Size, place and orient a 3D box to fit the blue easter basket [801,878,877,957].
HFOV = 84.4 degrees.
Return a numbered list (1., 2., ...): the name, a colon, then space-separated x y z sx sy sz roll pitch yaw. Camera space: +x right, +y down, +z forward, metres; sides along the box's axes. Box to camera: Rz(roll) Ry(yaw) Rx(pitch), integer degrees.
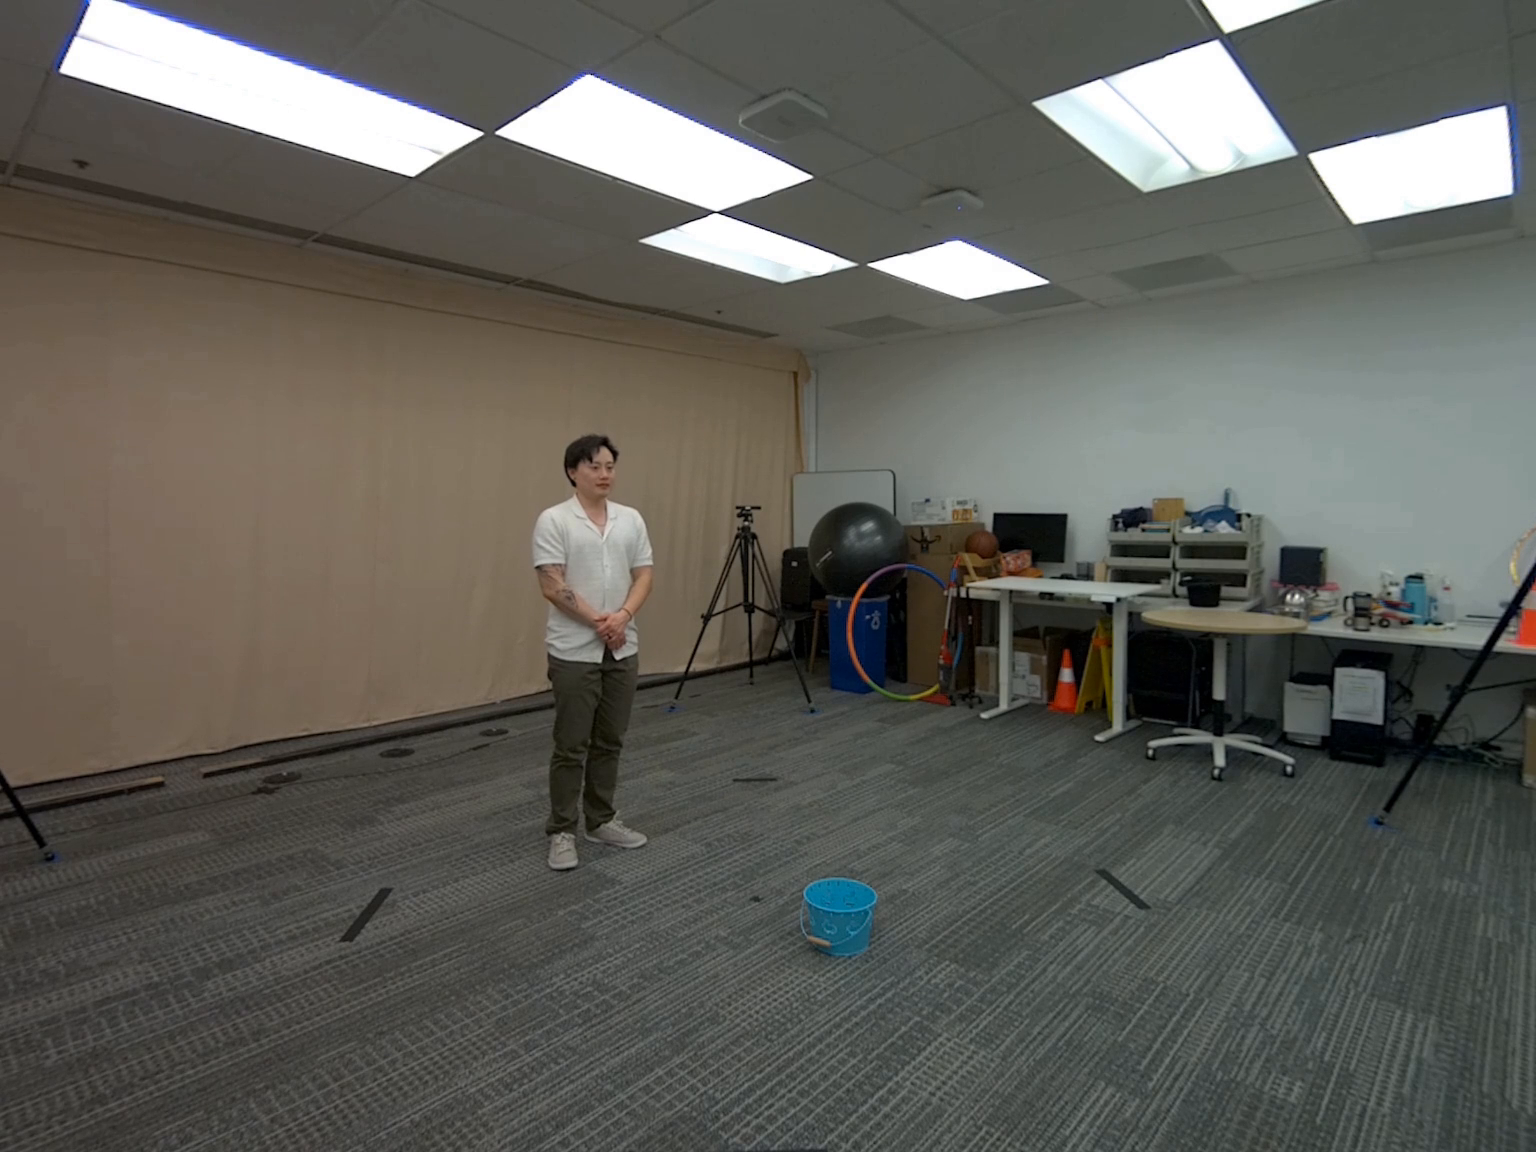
1. blue easter basket: 0.230 1.088 2.691 0.243 0.155 0.244 0 4 -2
